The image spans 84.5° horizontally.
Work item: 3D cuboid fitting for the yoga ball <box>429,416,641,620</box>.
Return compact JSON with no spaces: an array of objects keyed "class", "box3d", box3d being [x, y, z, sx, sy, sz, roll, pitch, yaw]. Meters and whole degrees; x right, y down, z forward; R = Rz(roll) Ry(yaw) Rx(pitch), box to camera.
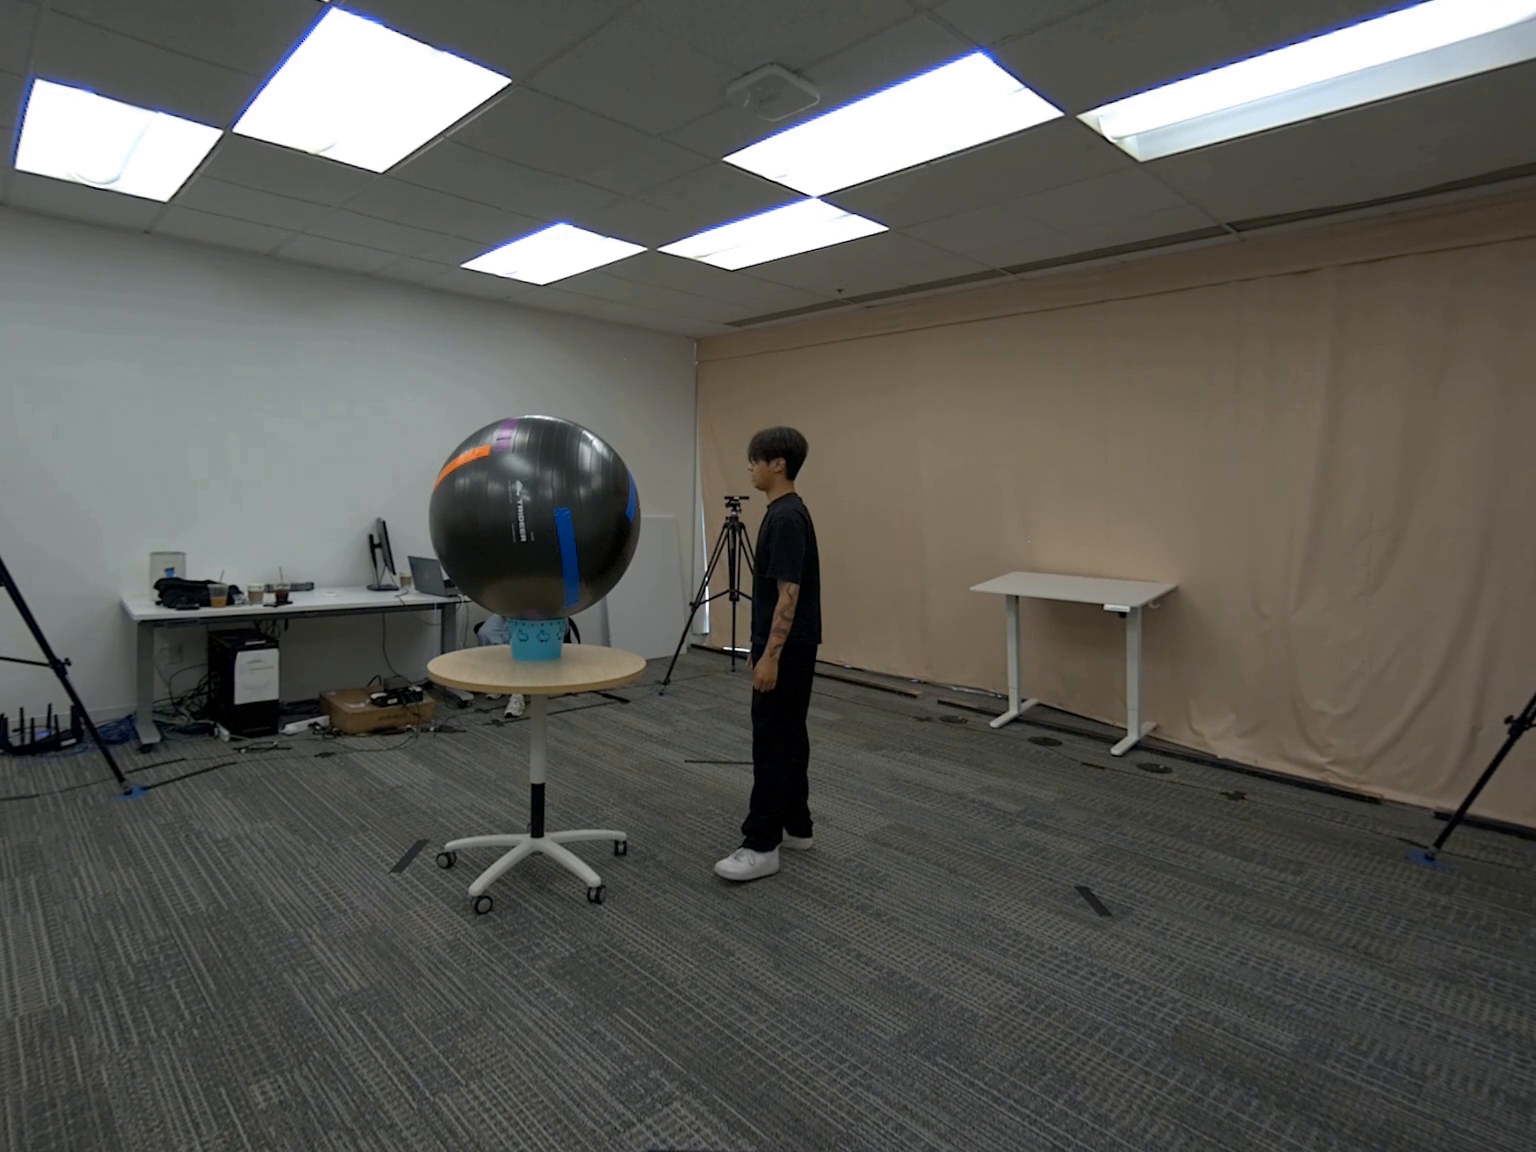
[{"class":"yoga ball","box3d":[-0.858,-0.208,3.111,0.757,0.756,0.761,1,4,-1]}]
